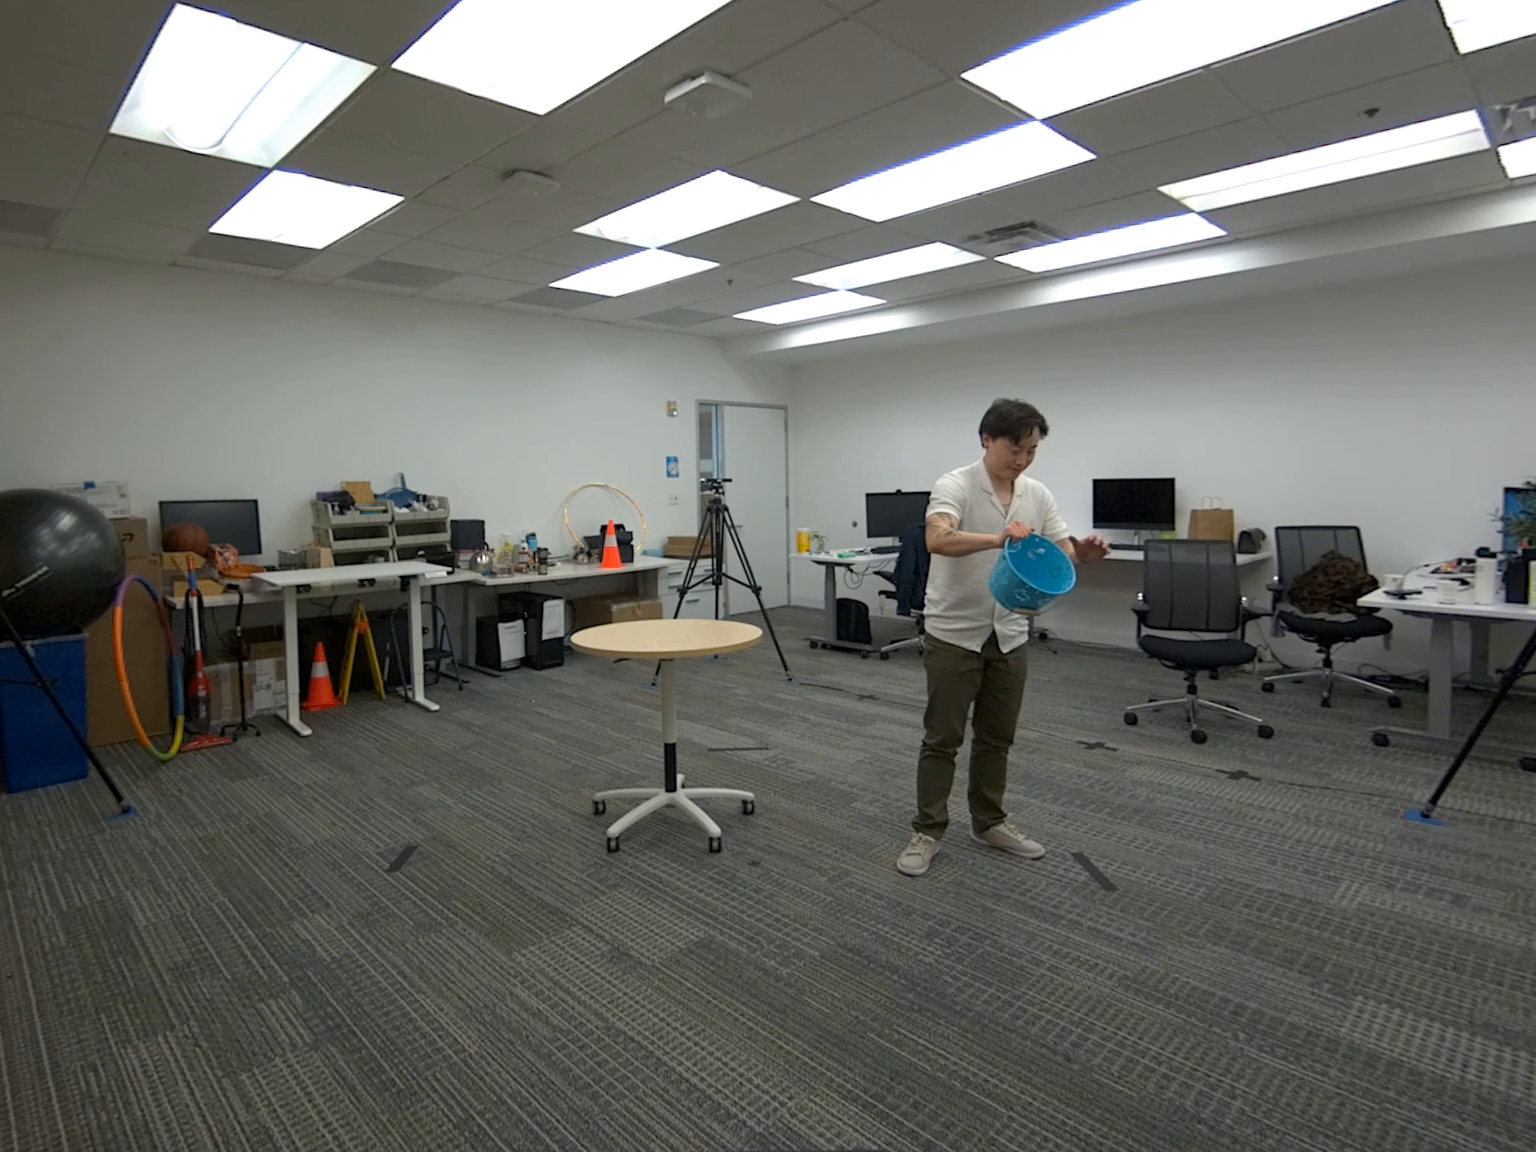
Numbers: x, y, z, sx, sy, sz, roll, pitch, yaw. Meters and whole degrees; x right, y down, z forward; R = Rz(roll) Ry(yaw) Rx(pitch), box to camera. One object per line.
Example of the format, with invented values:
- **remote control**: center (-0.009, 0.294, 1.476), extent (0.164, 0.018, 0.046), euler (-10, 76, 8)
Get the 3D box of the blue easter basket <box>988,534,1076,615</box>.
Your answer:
- **blue easter basket**: center (0.787, 0.006, 2.611), extent (0.239, 0.251, 0.154), euler (-3, -36, -22)
